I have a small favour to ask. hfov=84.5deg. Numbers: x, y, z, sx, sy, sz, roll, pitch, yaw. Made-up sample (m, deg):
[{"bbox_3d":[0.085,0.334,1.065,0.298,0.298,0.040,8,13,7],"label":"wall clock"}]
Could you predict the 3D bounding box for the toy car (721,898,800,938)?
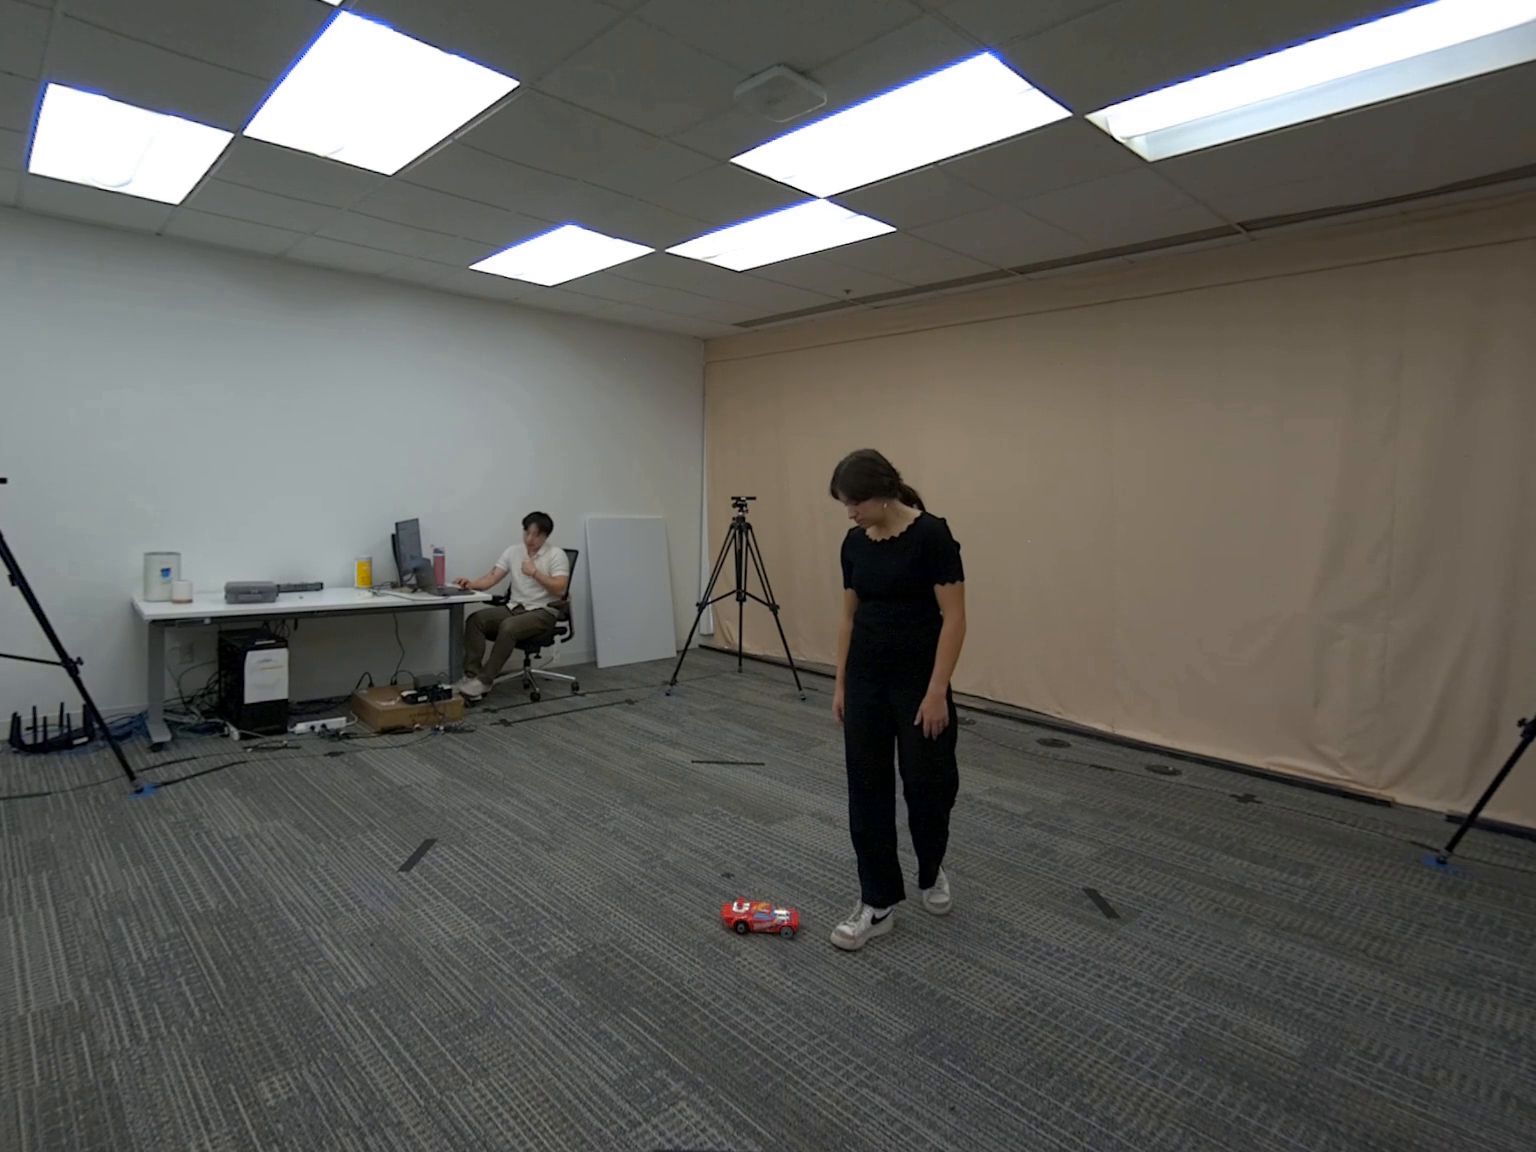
[{"bbox_3d":[-0.035,1.108,2.729,0.256,0.083,0.130,14,5,5],"label":"toy car"}]
